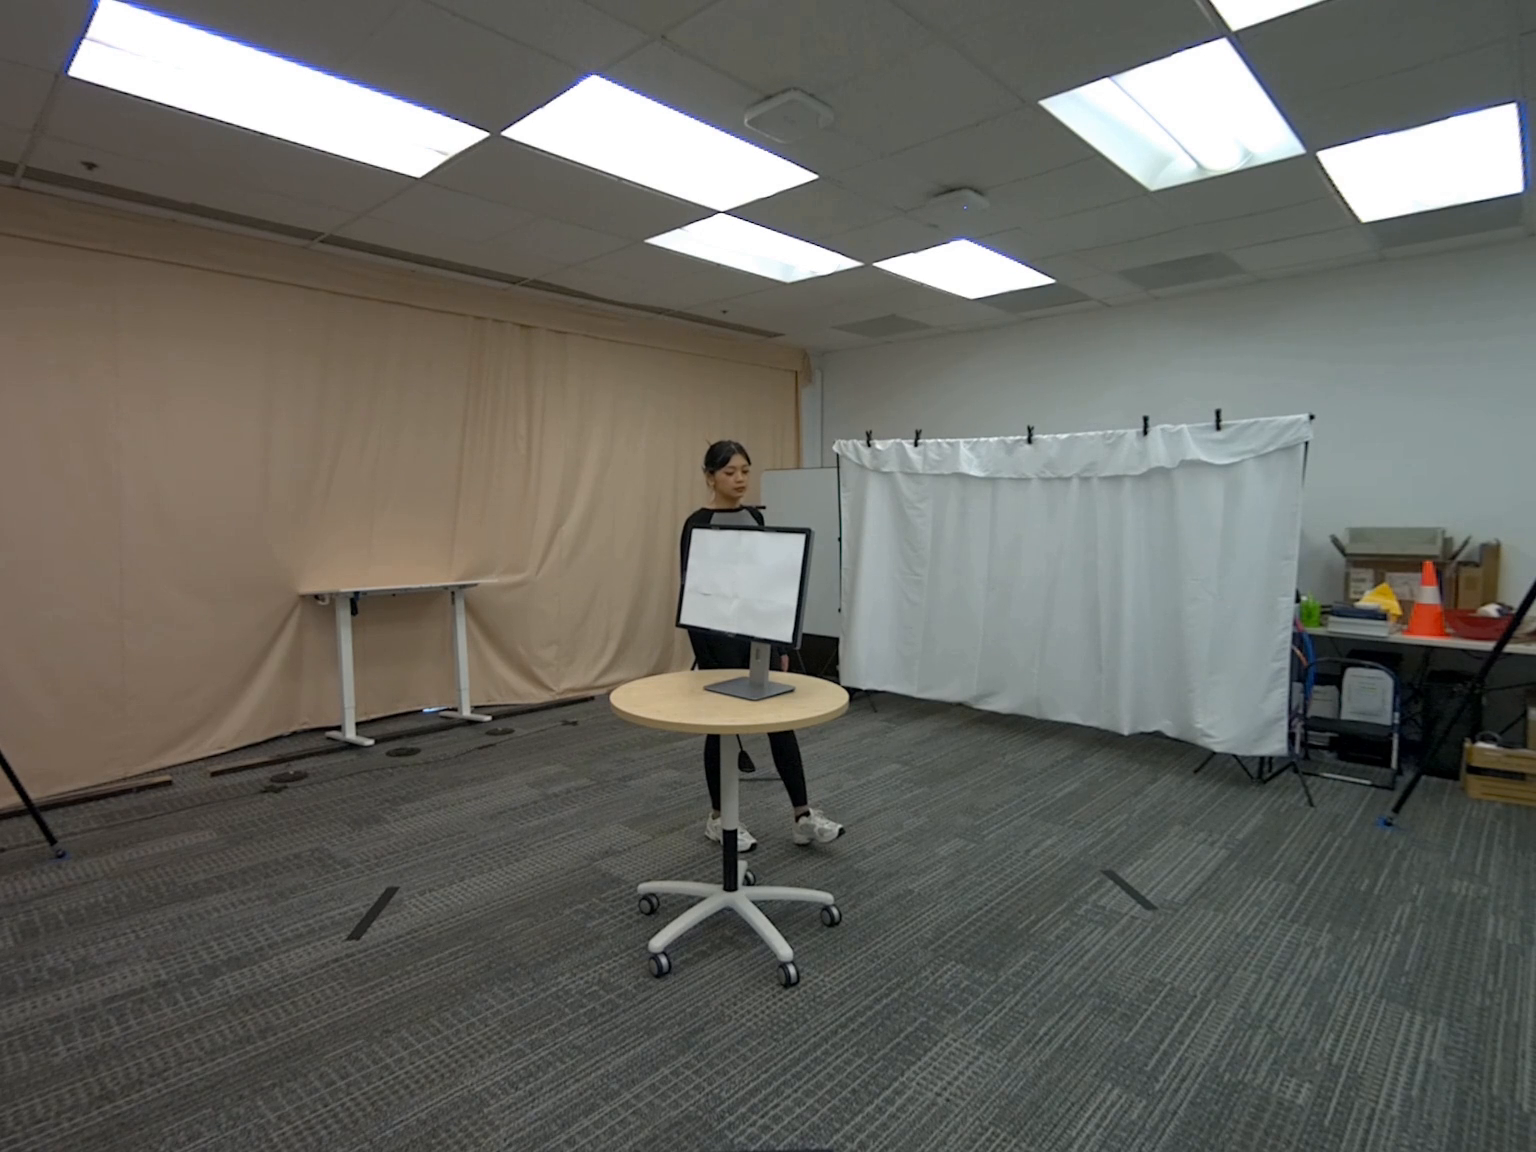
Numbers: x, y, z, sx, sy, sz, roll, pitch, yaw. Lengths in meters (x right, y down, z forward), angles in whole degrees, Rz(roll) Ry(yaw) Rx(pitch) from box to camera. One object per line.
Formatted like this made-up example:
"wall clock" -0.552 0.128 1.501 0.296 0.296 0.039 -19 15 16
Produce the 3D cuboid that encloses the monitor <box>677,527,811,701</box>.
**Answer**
"monitor" -0.062 0.112 2.741 0.557 0.521 0.181 4 6 44
